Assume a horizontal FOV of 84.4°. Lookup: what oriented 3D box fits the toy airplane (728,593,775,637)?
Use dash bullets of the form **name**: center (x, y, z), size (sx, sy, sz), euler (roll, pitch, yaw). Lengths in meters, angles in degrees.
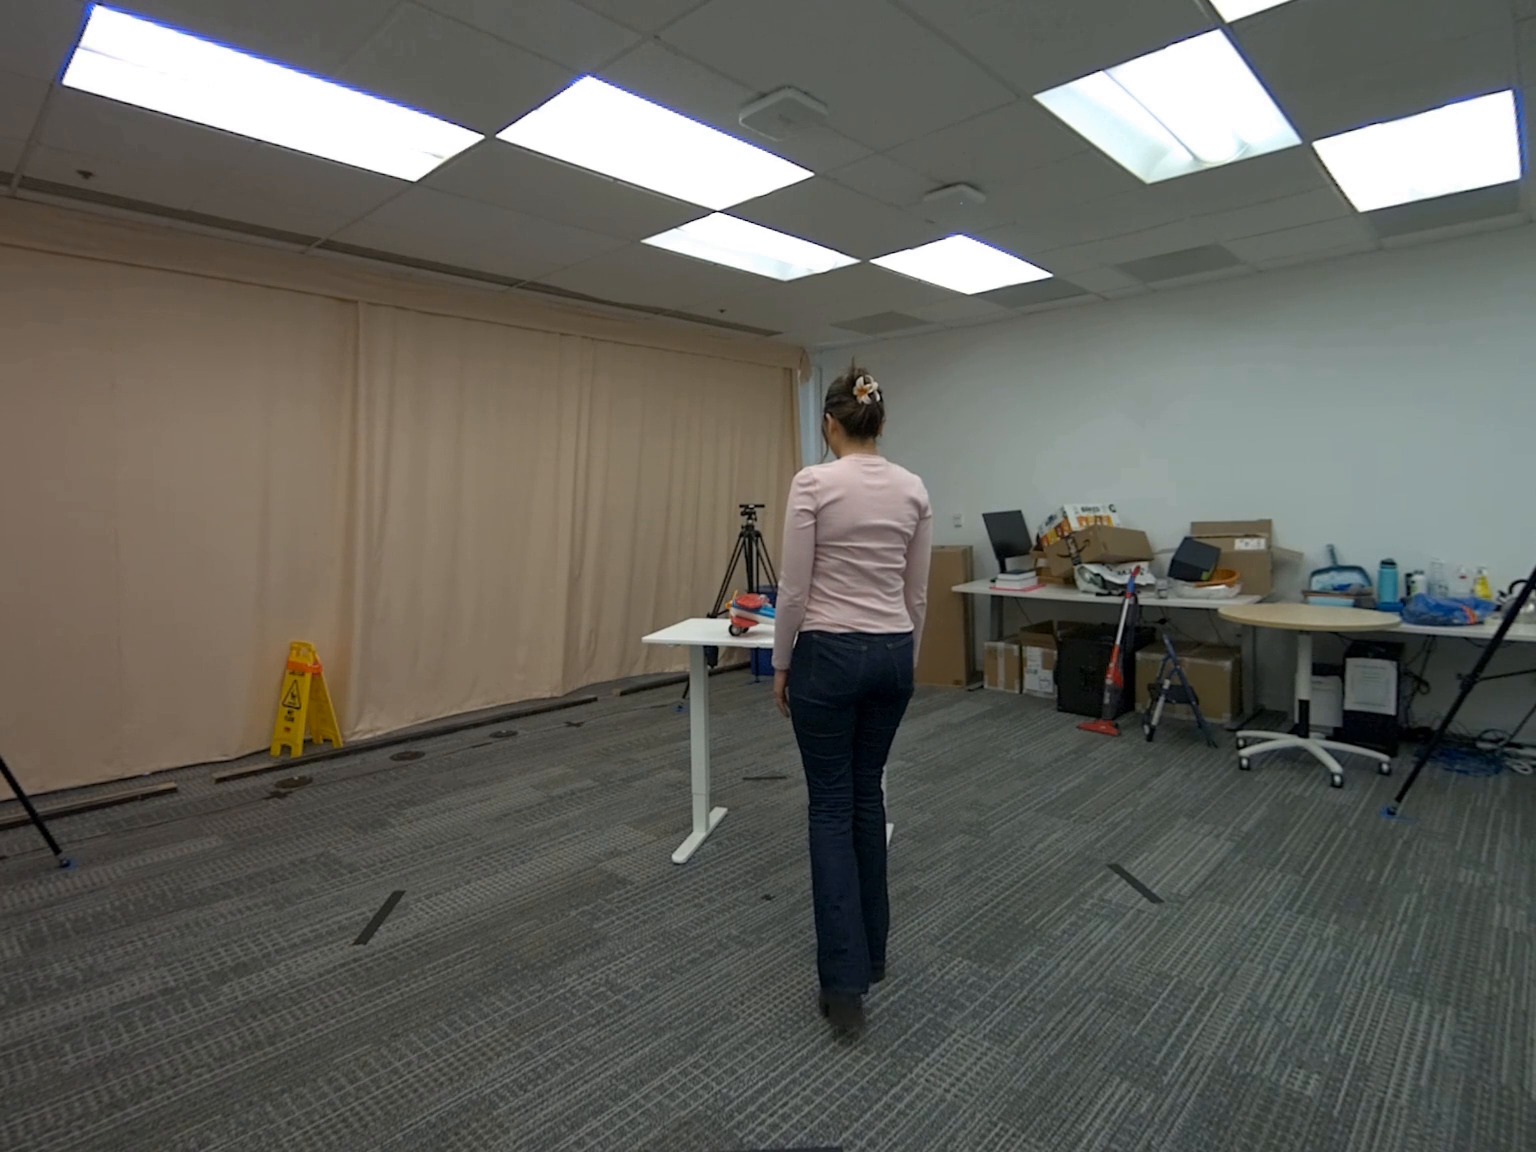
- **toy airplane**: center (-0.029, 0.155, 3.306), size (0.256, 0.156, 0.254), euler (-3, 5, -10)
